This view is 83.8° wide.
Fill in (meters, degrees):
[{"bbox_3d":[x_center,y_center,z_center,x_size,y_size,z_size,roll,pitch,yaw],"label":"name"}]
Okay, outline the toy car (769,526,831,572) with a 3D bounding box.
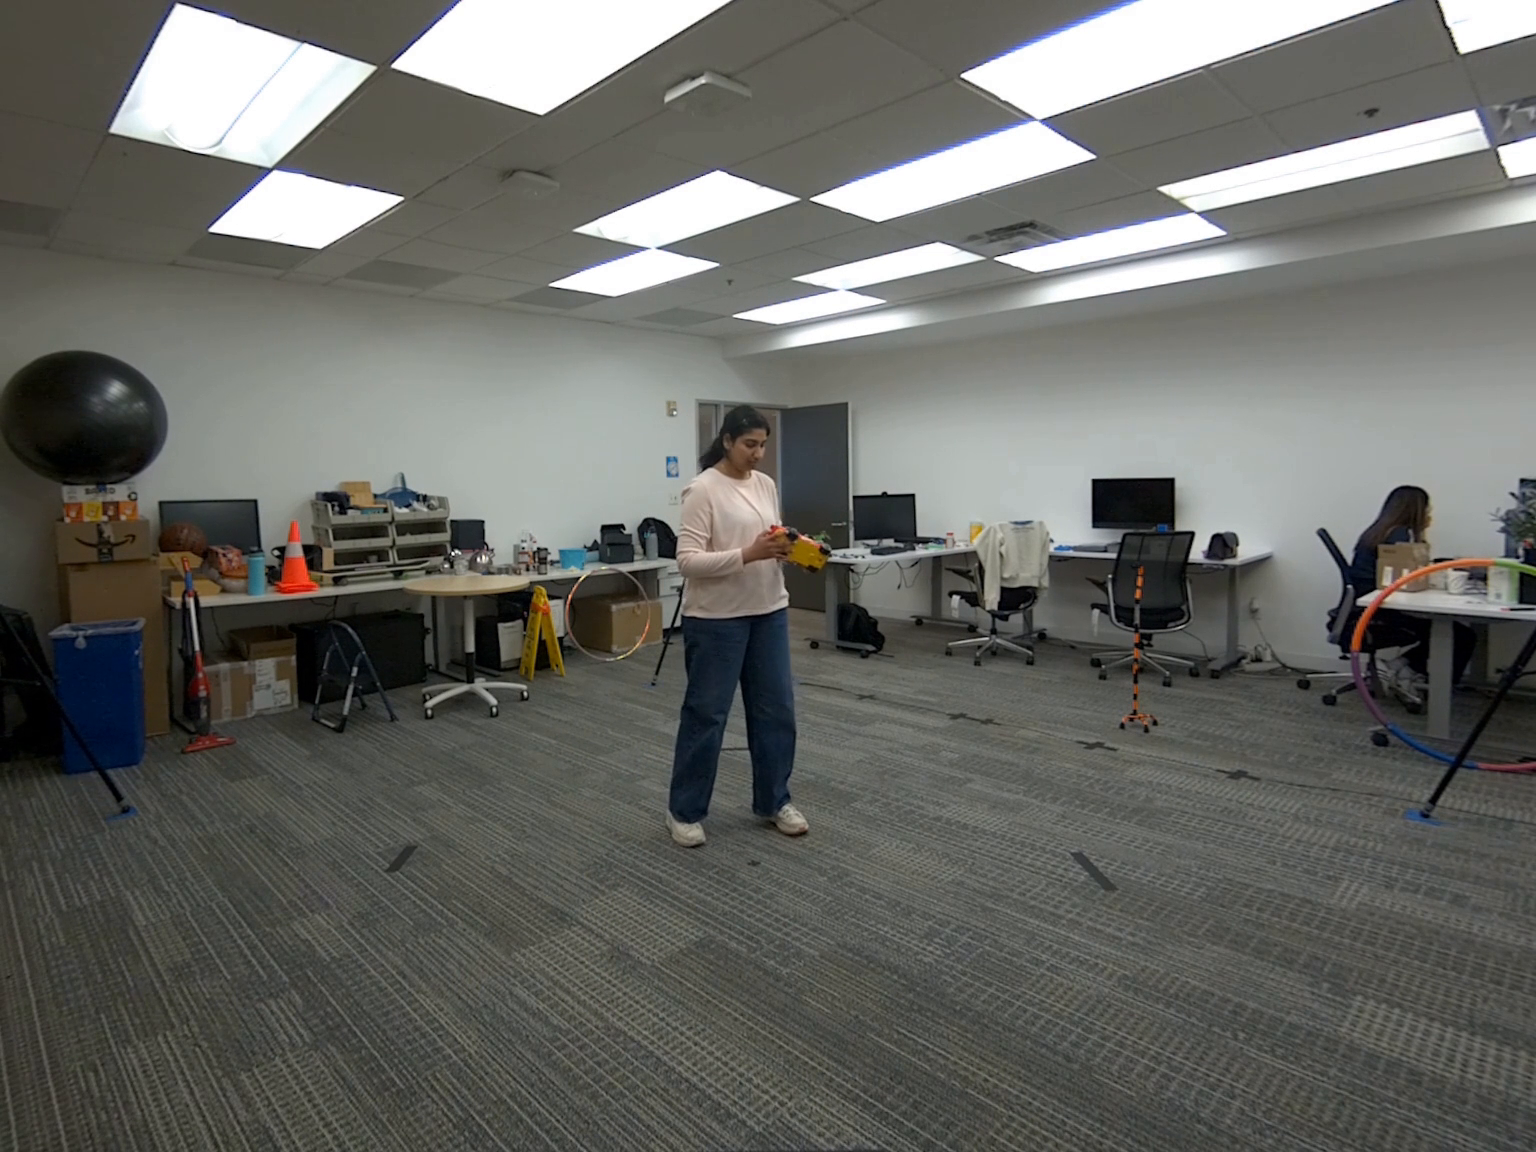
[{"bbox_3d":[0.100,-0.099,3.150,0.253,0.129,0.084,27,25,-6],"label":"toy car"}]
